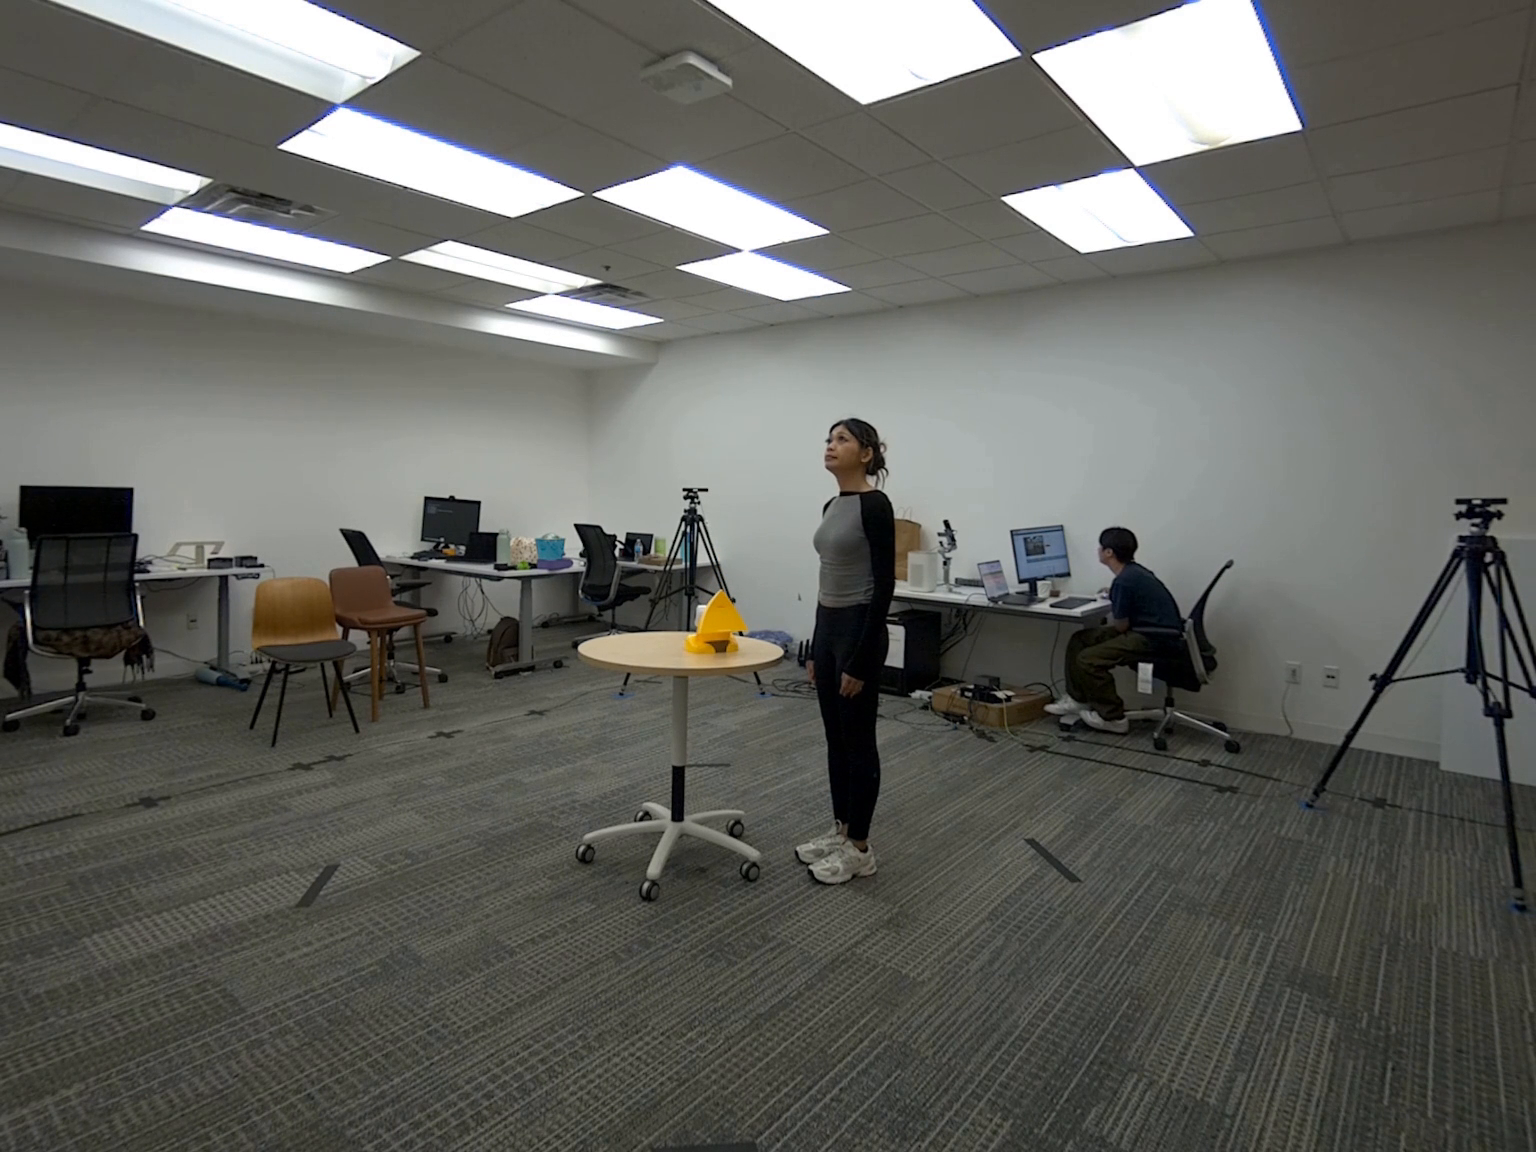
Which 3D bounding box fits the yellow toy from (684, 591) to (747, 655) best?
[{"bbox_3d":[-0.218,0.157,3.171,0.199,0.230,0.199,0,3,-32],"label":"yellow toy"}]
